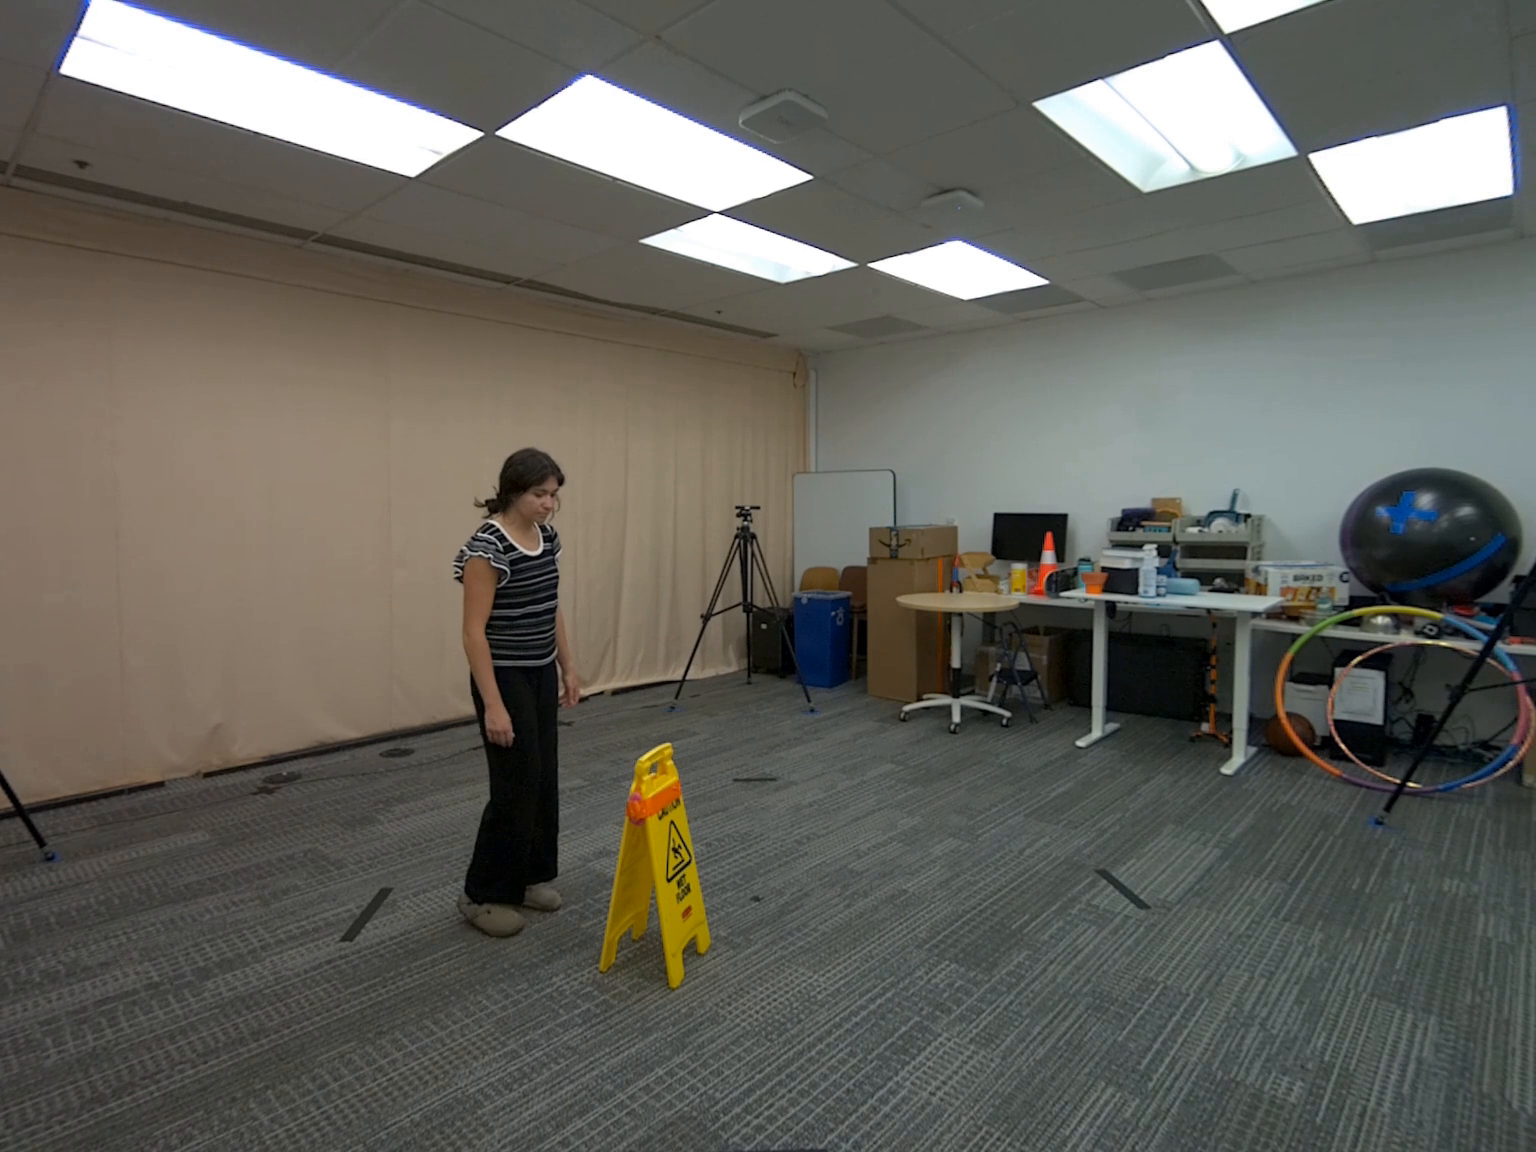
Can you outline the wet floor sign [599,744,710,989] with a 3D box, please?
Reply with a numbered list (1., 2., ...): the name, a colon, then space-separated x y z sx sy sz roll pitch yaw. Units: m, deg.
1. wet floor sign: -0.348 0.858 2.577 0.296 0.645 0.276 0 2 20
